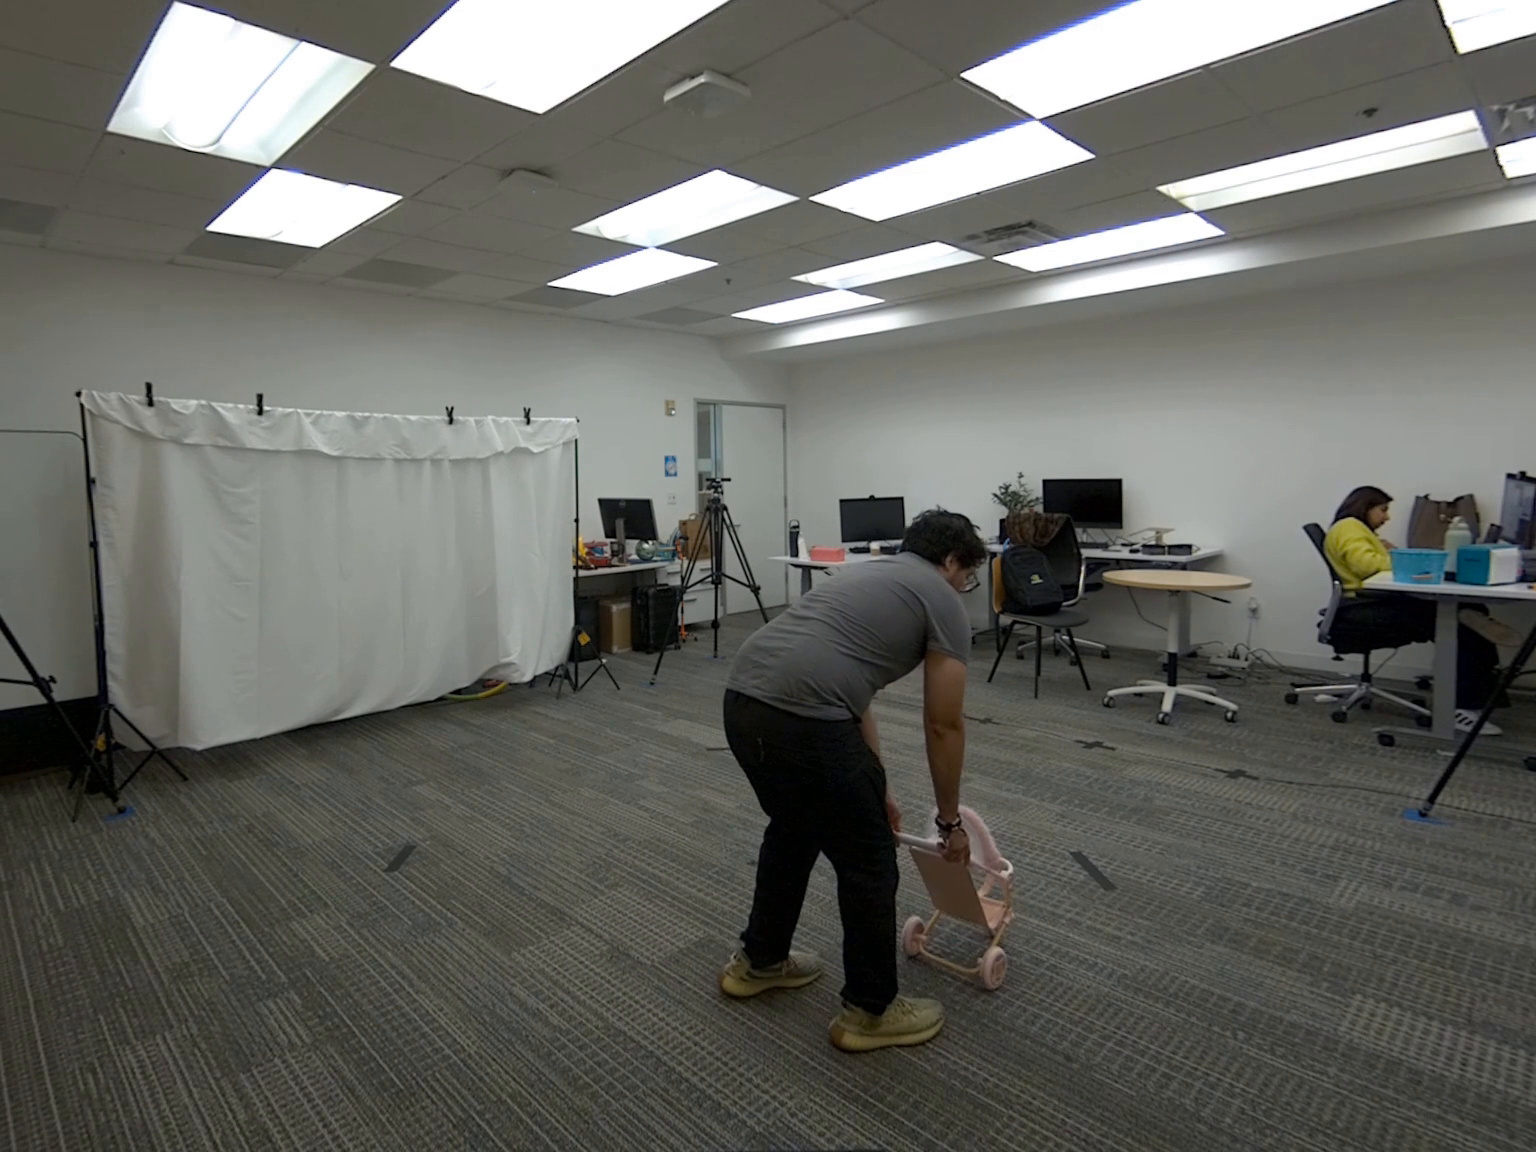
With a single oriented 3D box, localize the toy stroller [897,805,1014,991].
[{"bbox_3d":[0.565,0.886,2.437,0.290,0.526,0.336,3,22,46],"label":"toy stroller"}]
